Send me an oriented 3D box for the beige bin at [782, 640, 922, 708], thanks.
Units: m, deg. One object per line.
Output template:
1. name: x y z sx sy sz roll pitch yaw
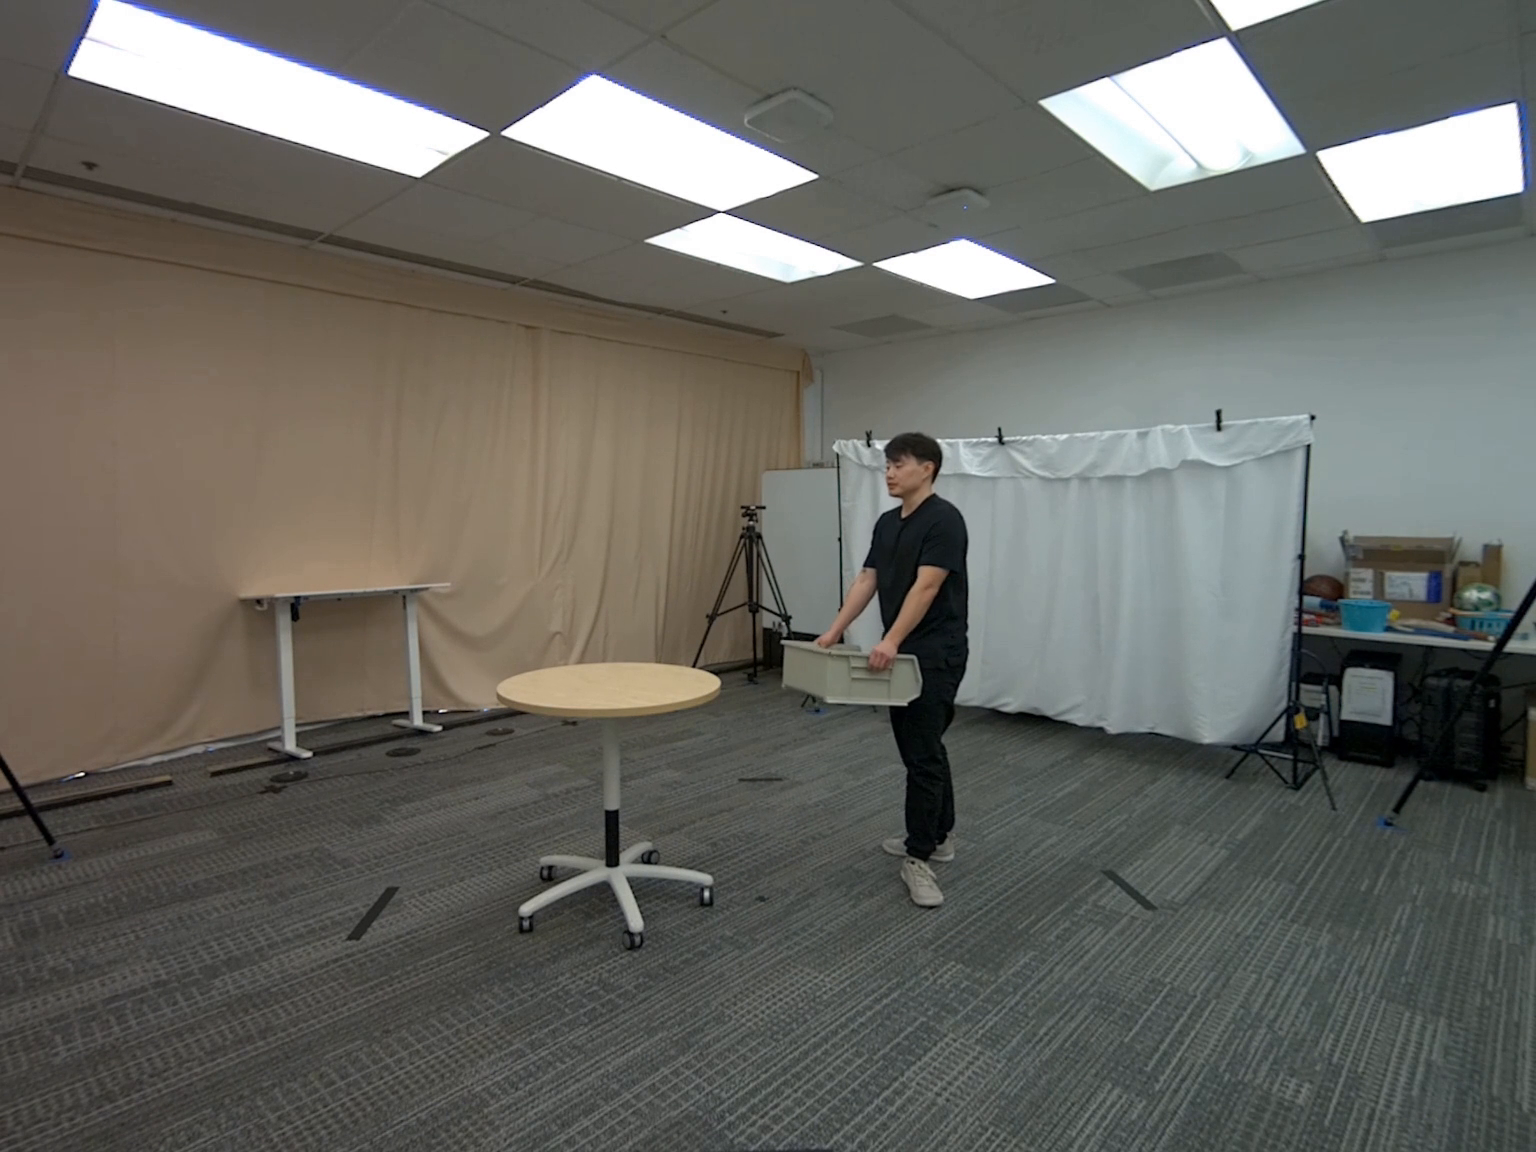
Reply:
1. beige bin: 0.305 0.355 3.131 0.369 0.189 0.431 3 0 -21
